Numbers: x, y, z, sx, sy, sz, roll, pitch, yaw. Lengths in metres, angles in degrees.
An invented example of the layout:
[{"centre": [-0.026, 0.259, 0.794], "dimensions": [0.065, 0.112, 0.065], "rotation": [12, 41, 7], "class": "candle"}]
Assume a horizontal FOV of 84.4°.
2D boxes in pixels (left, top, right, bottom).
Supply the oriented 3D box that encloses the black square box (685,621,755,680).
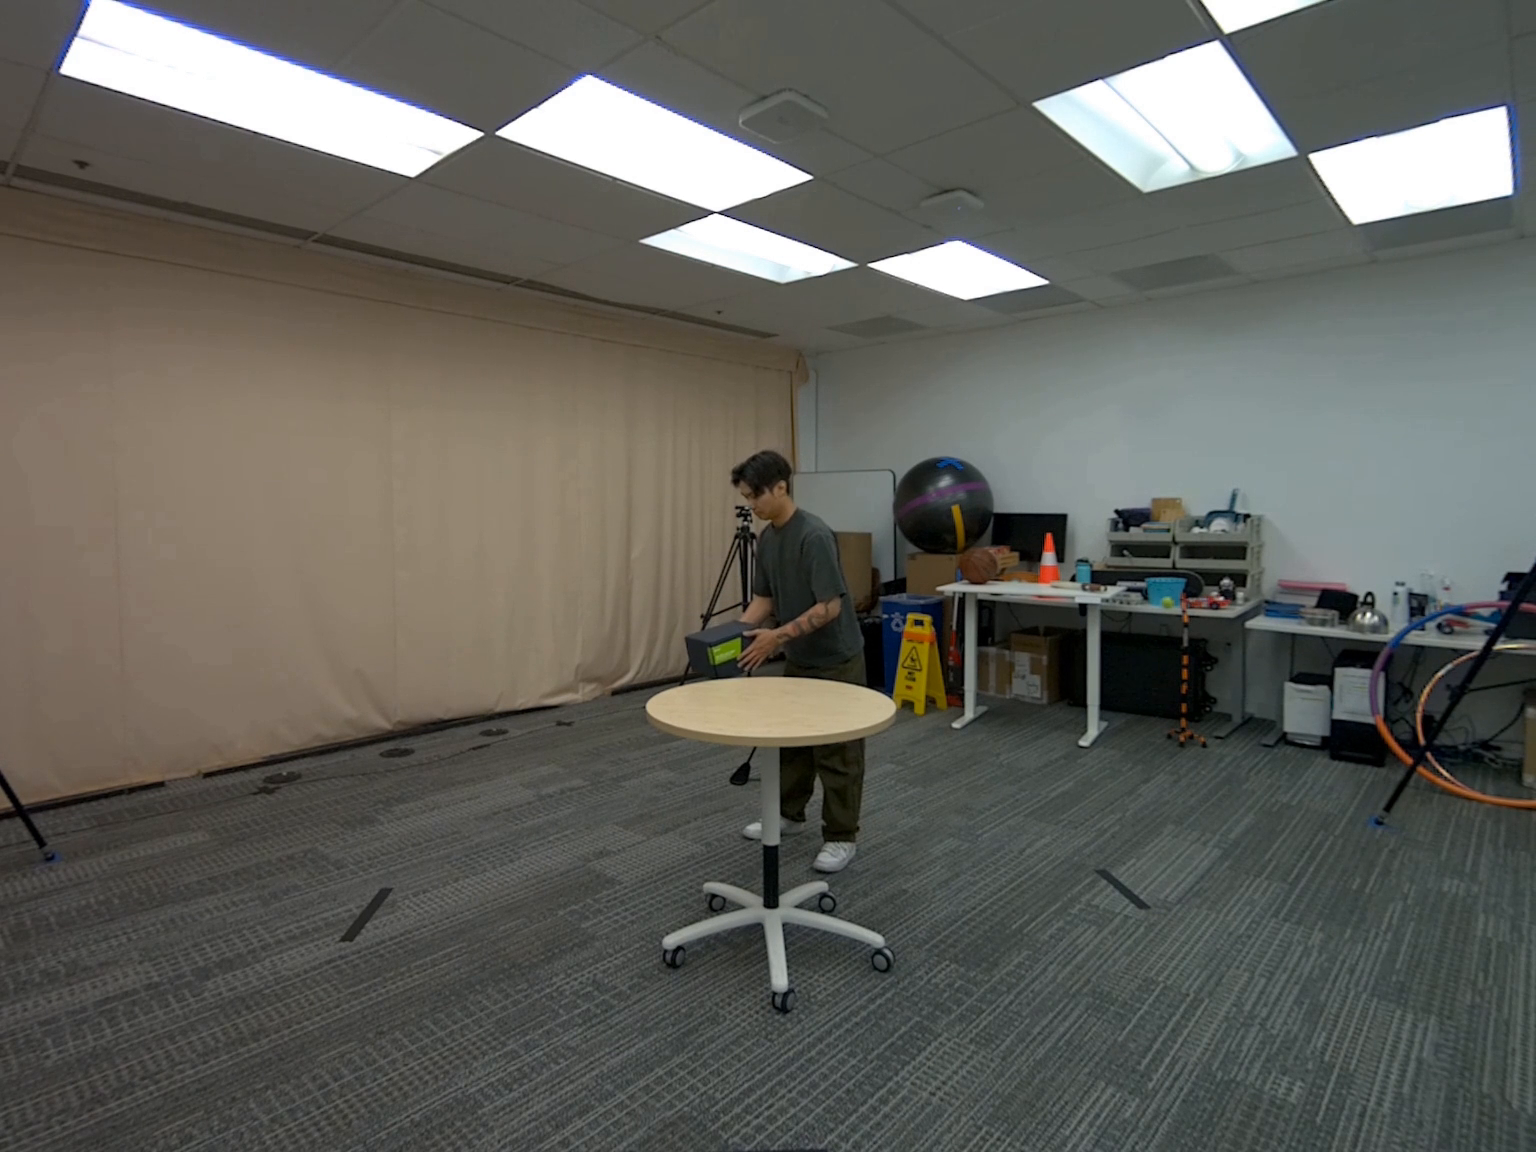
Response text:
[{"centre": [-0.165, 0.287, 3.247], "dimensions": [0.223, 0.155, 0.223], "rotation": [-16, 10, -29], "class": "black square box"}]
